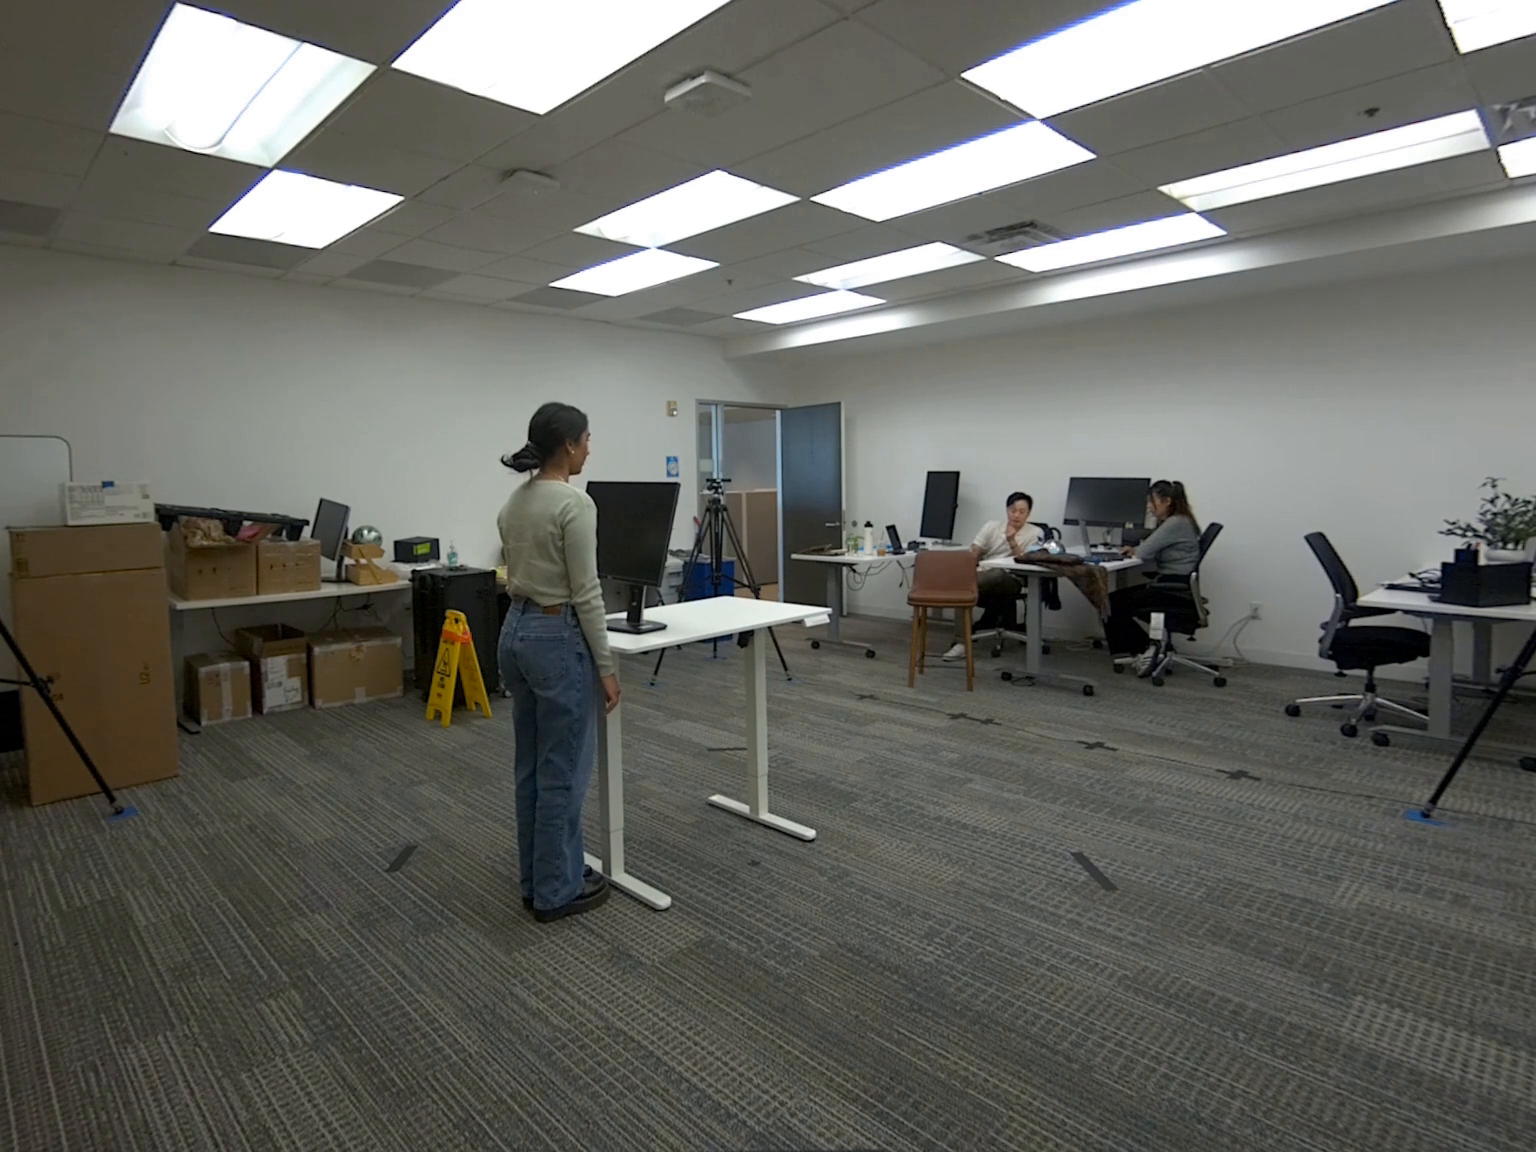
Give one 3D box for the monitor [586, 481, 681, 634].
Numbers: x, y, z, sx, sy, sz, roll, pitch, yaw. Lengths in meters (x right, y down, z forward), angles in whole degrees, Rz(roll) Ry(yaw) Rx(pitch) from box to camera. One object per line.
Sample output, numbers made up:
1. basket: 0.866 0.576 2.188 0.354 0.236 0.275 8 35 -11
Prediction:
1. monitor: -0.488 -0.068 3.003 0.556 0.521 0.182 5 5 45
